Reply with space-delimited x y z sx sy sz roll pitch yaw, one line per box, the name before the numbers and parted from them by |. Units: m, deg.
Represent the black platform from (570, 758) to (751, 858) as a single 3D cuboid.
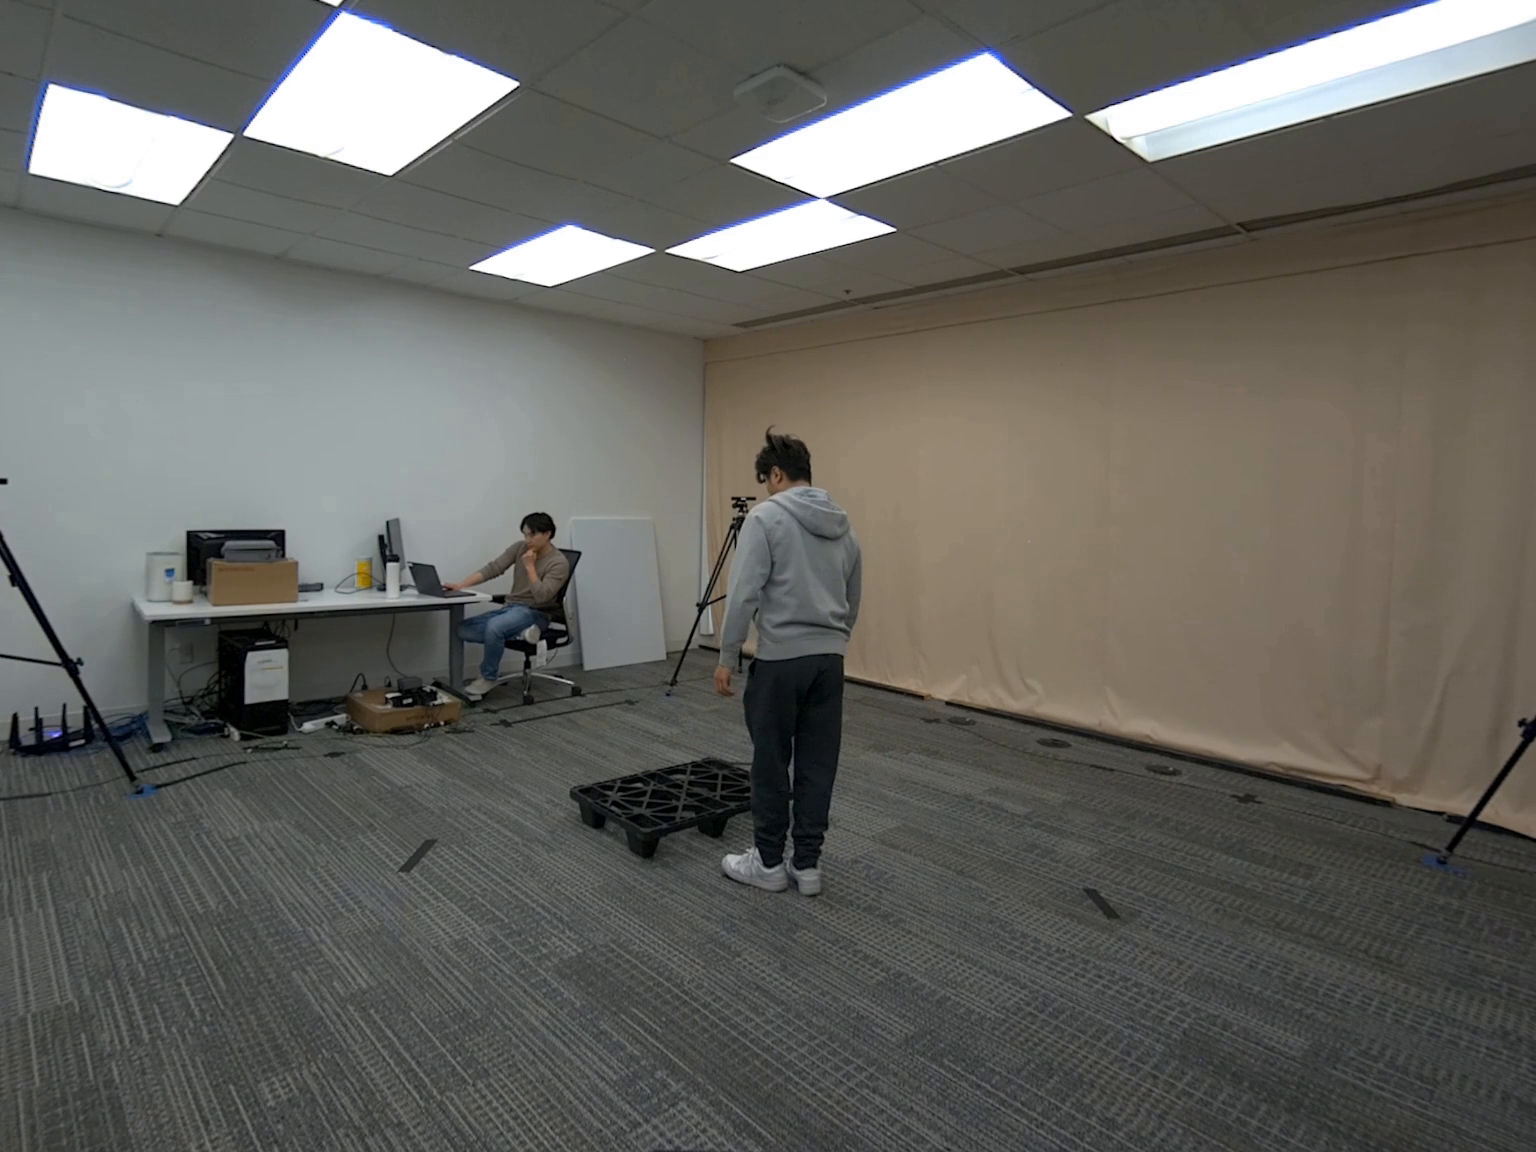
black platform | -0.363 0.987 3.640 0.787 0.143 0.621 -3 7 -41
